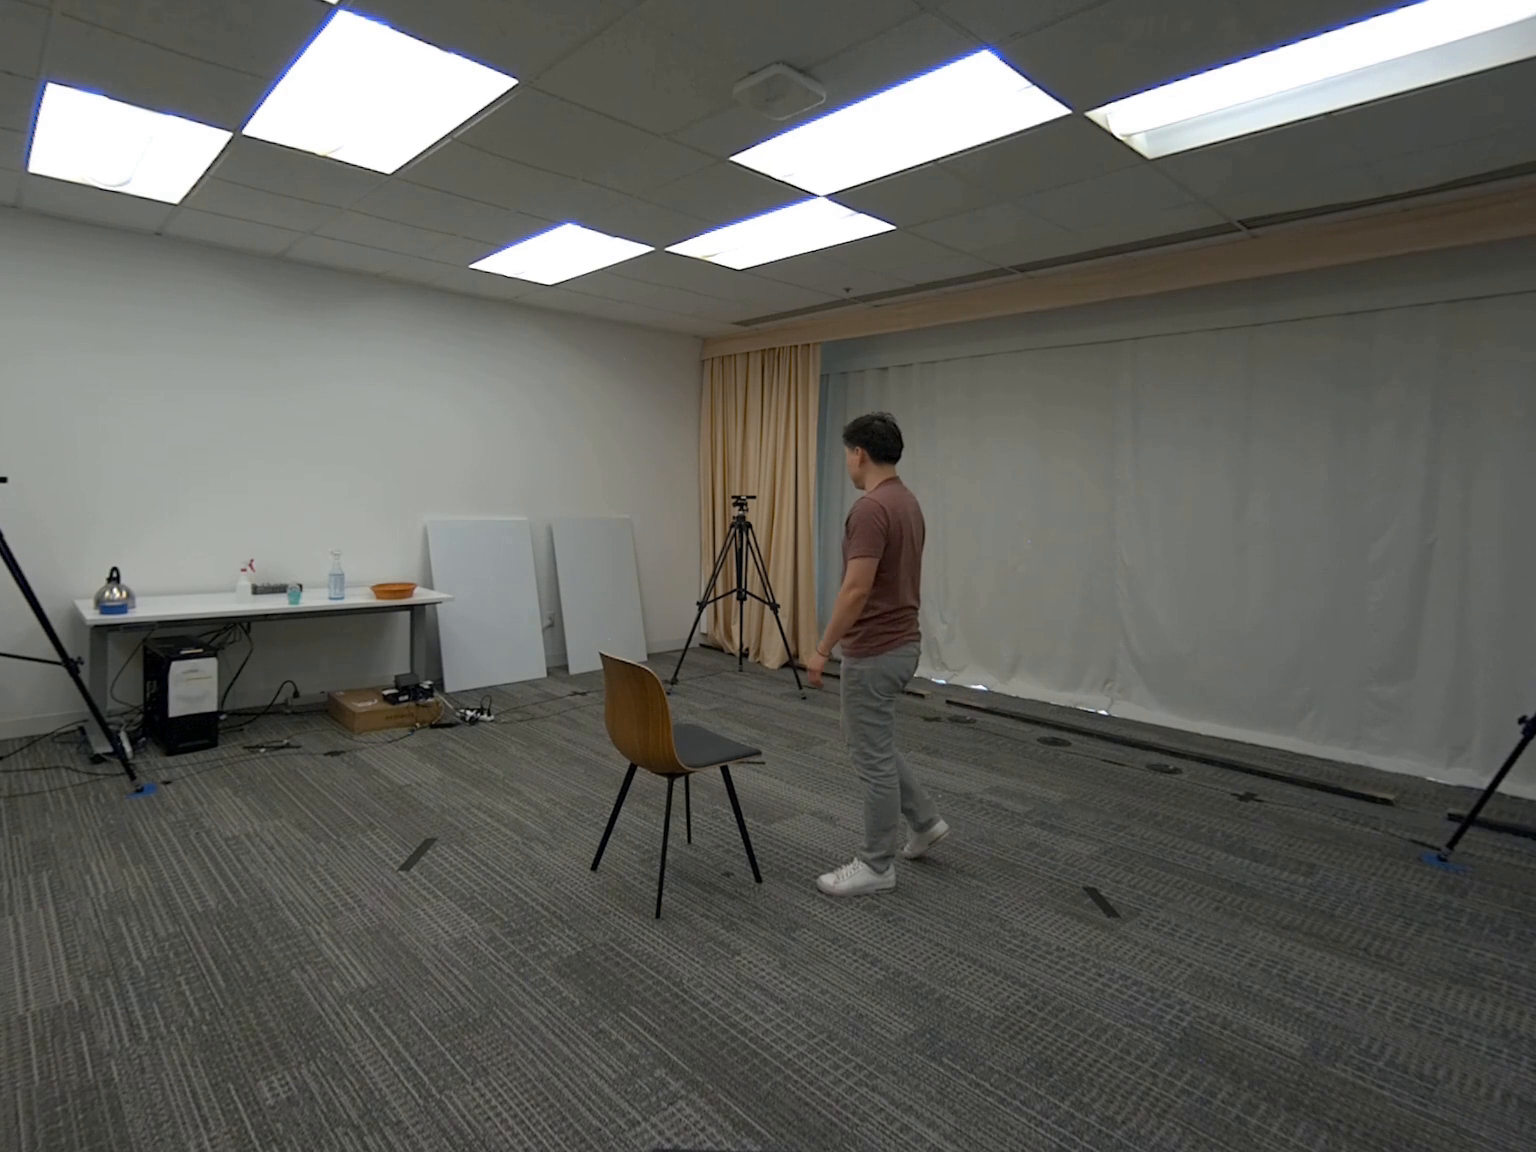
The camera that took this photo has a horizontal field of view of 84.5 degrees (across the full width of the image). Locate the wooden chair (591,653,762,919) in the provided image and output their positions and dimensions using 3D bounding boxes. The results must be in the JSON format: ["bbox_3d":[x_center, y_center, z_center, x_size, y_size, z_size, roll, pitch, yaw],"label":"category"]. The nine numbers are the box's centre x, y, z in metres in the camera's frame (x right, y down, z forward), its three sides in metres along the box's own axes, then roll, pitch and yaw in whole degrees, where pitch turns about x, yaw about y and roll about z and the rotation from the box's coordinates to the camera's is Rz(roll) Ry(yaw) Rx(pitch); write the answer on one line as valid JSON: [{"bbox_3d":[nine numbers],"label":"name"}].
[{"bbox_3d":[-0.323,0.671,3.051,0.512,0.874,0.490,-7,7,-39],"label":"wooden chair"}]
